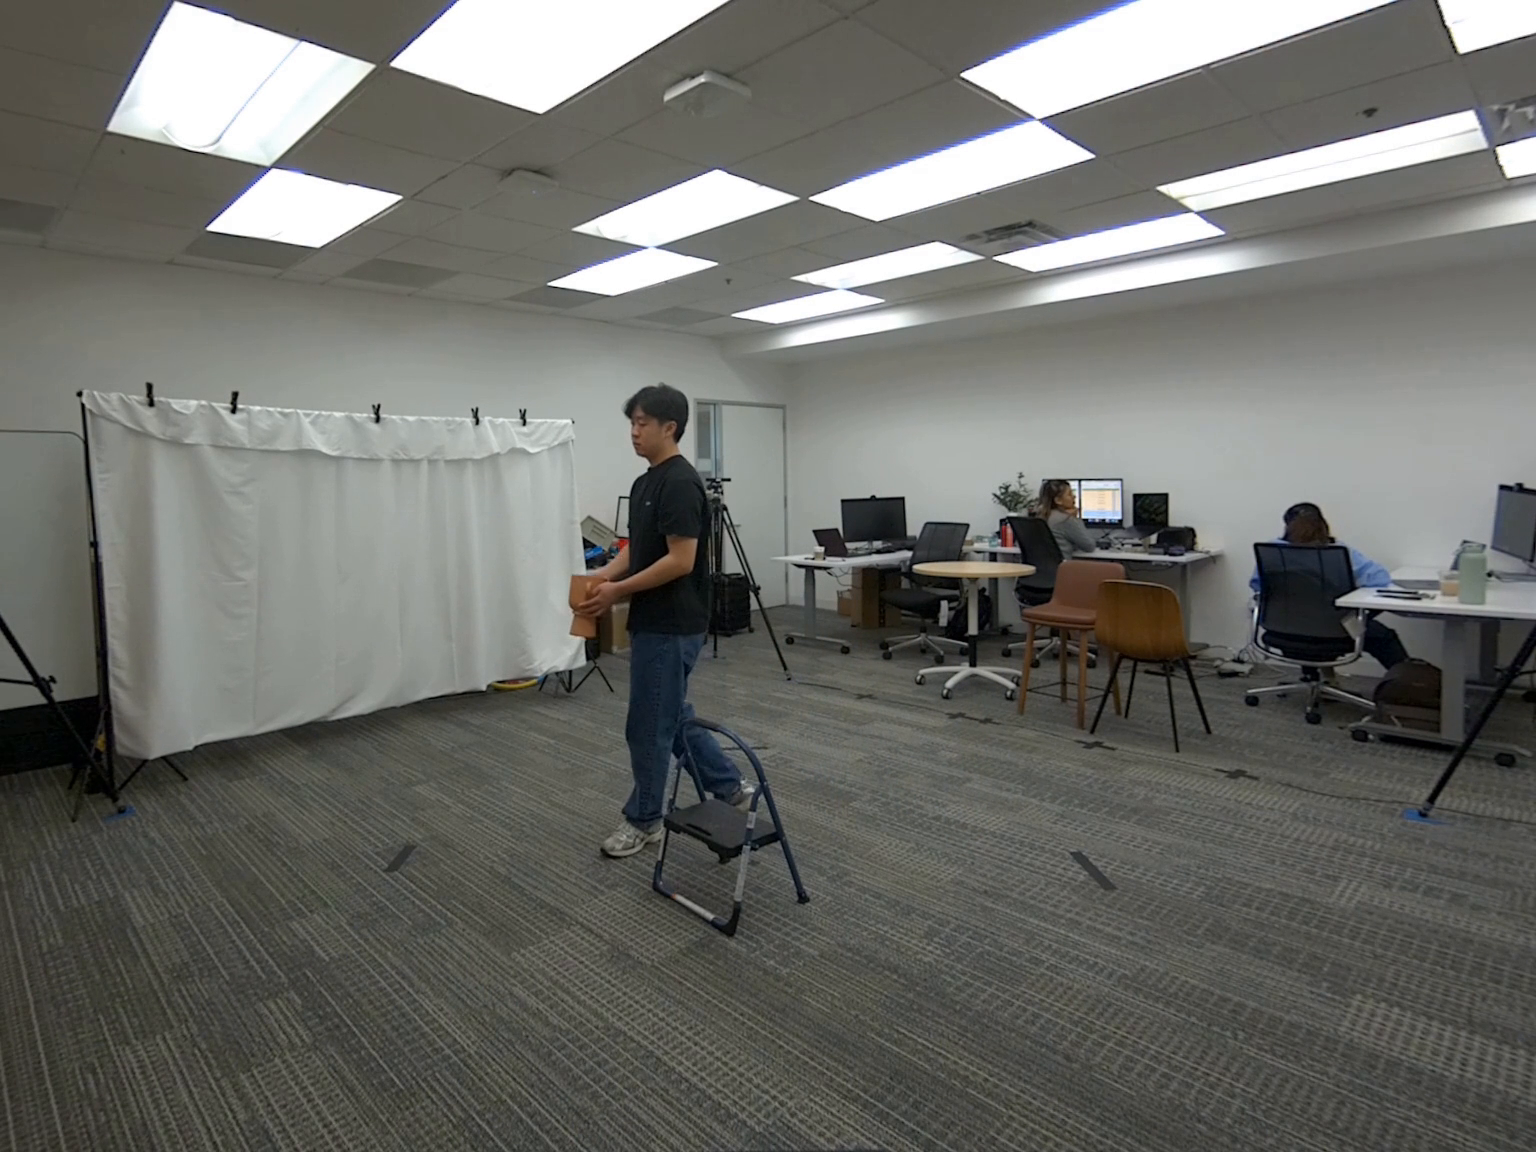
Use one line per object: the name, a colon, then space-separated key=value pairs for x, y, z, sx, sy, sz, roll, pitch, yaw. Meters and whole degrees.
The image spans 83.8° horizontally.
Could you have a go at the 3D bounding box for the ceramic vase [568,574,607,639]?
ceramic vase: x=-0.661 y=0.110 z=3.146 sx=0.138 sy=0.220 sz=0.154 roll=3 pitch=-4 yaw=27
